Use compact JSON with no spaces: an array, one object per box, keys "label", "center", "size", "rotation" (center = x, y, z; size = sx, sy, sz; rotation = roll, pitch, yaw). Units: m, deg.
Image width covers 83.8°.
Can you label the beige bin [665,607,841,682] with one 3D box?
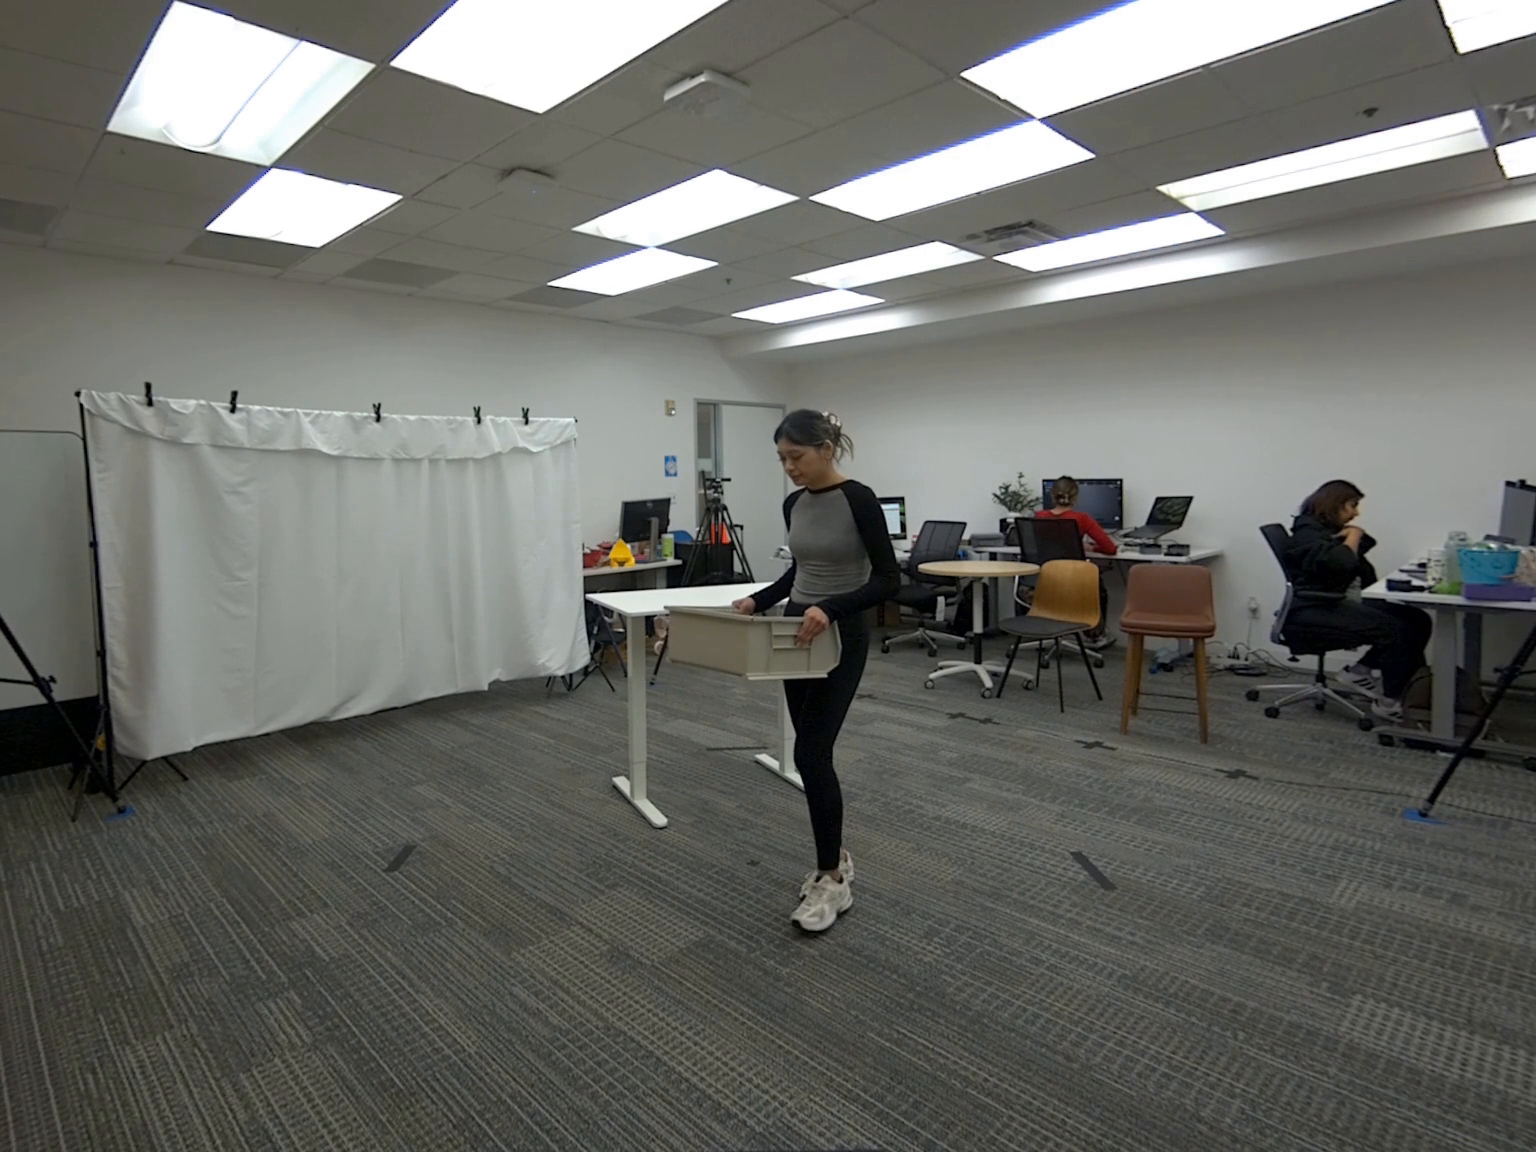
[{"label":"beige bin","center":[-0.053,0.197,2.647],"size":[0.366,0.189,0.435],"rotation":[1,3,-40]}]
